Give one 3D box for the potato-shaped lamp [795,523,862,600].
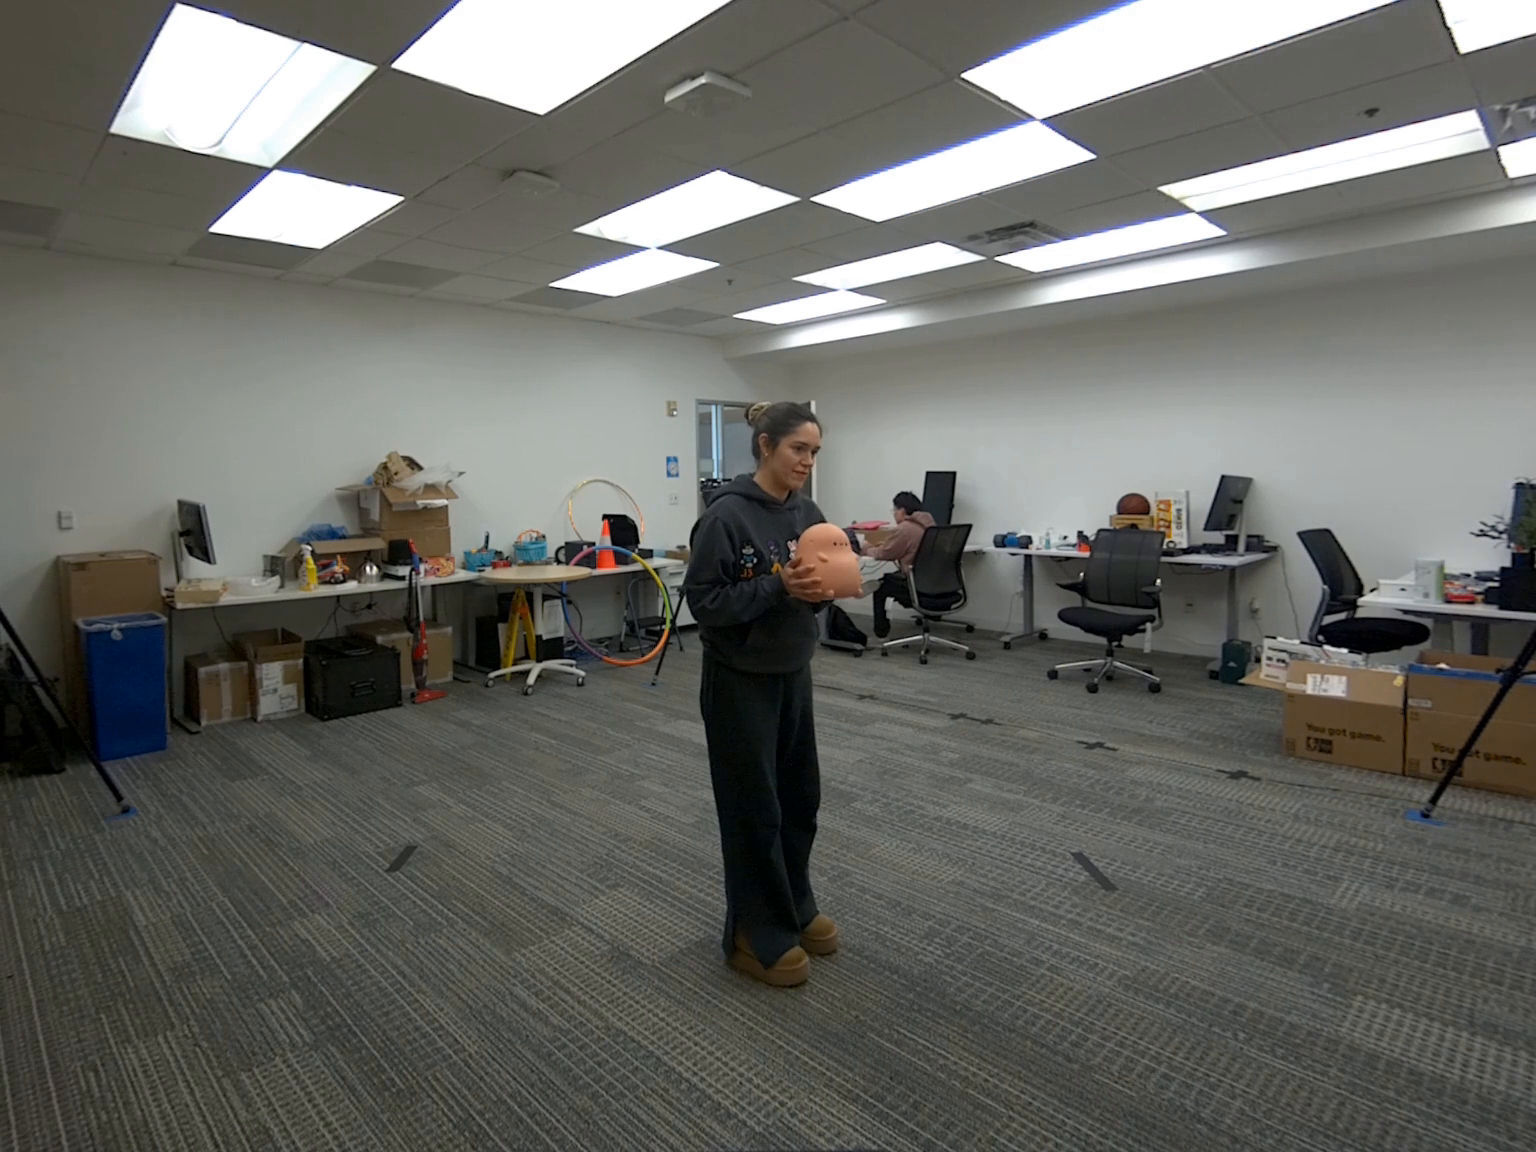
[{"bbox_3d":[0.147,-0.041,2.223,0.160,0.199,0.175,0,-4,-35],"label":"potato-shaped lamp"}]
